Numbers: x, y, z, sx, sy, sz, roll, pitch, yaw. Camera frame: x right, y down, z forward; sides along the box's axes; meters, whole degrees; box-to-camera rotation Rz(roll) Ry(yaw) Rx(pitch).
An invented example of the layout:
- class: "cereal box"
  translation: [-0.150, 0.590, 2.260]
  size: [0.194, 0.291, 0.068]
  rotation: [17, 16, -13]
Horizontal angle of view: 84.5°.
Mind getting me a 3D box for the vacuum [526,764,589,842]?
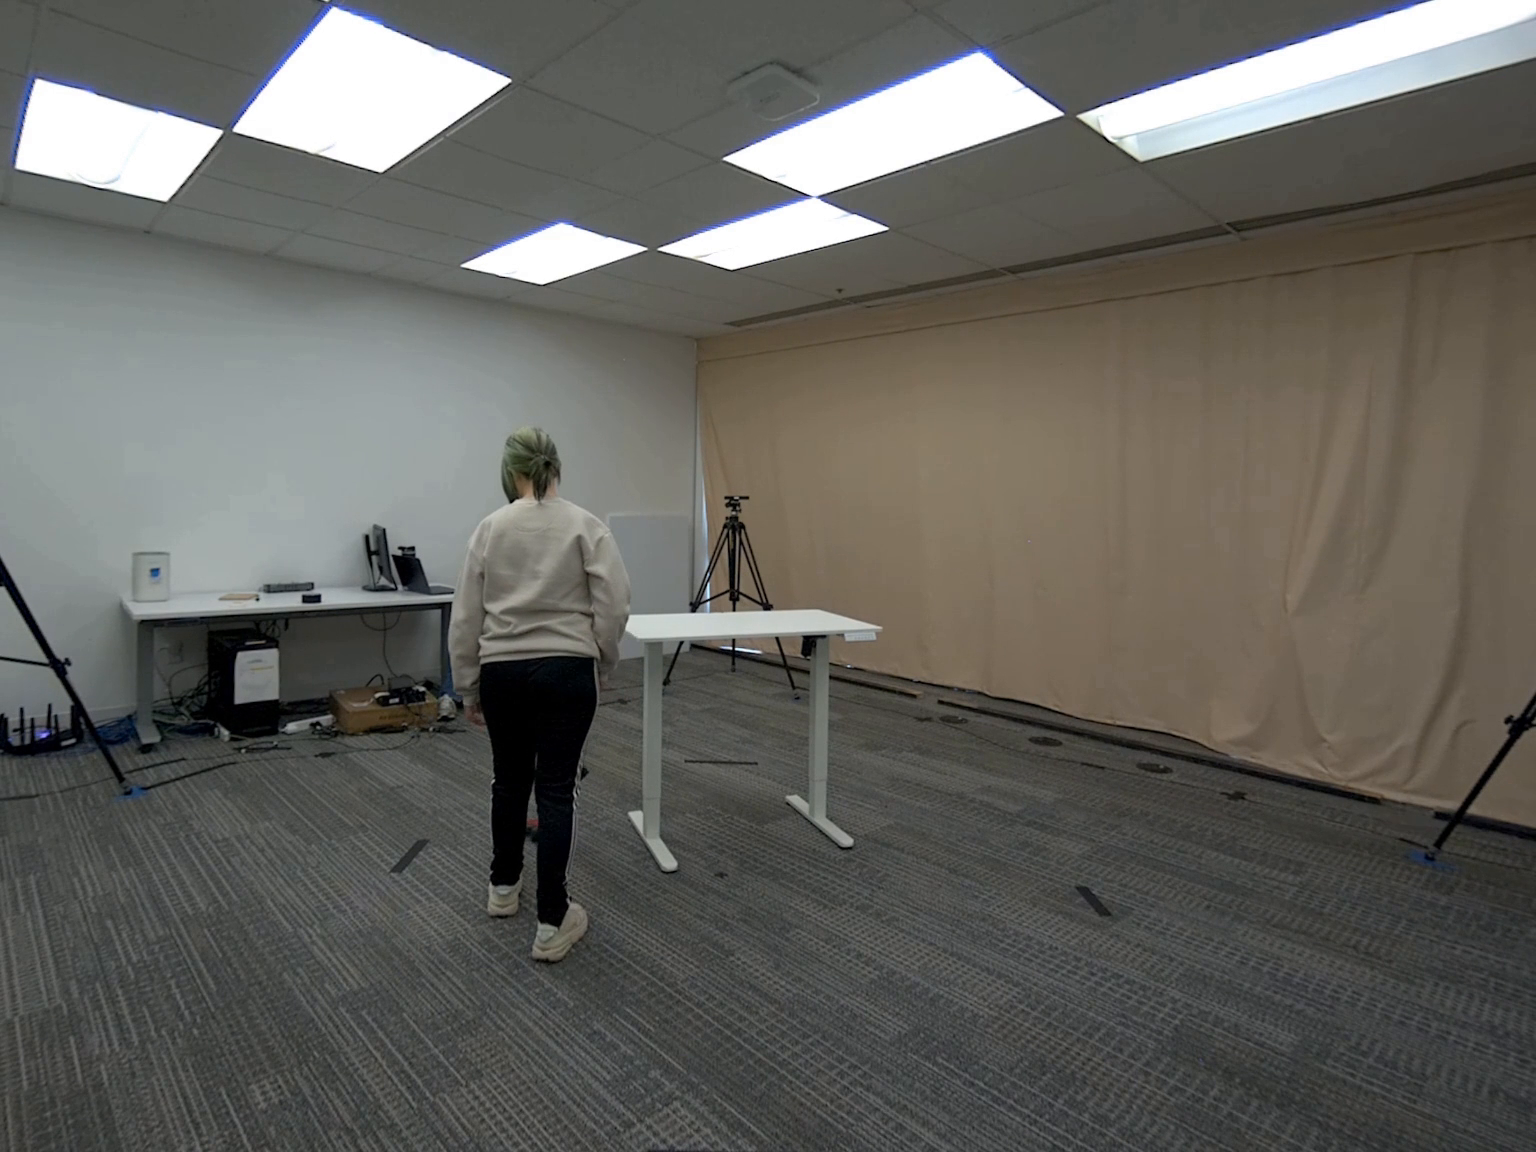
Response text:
- class: "vacuum"
  translation: [-0.750, 0.712, 3.099]
  size: [0.248, 0.148, 1.039]
  rotation: [-7, -37, -30]
